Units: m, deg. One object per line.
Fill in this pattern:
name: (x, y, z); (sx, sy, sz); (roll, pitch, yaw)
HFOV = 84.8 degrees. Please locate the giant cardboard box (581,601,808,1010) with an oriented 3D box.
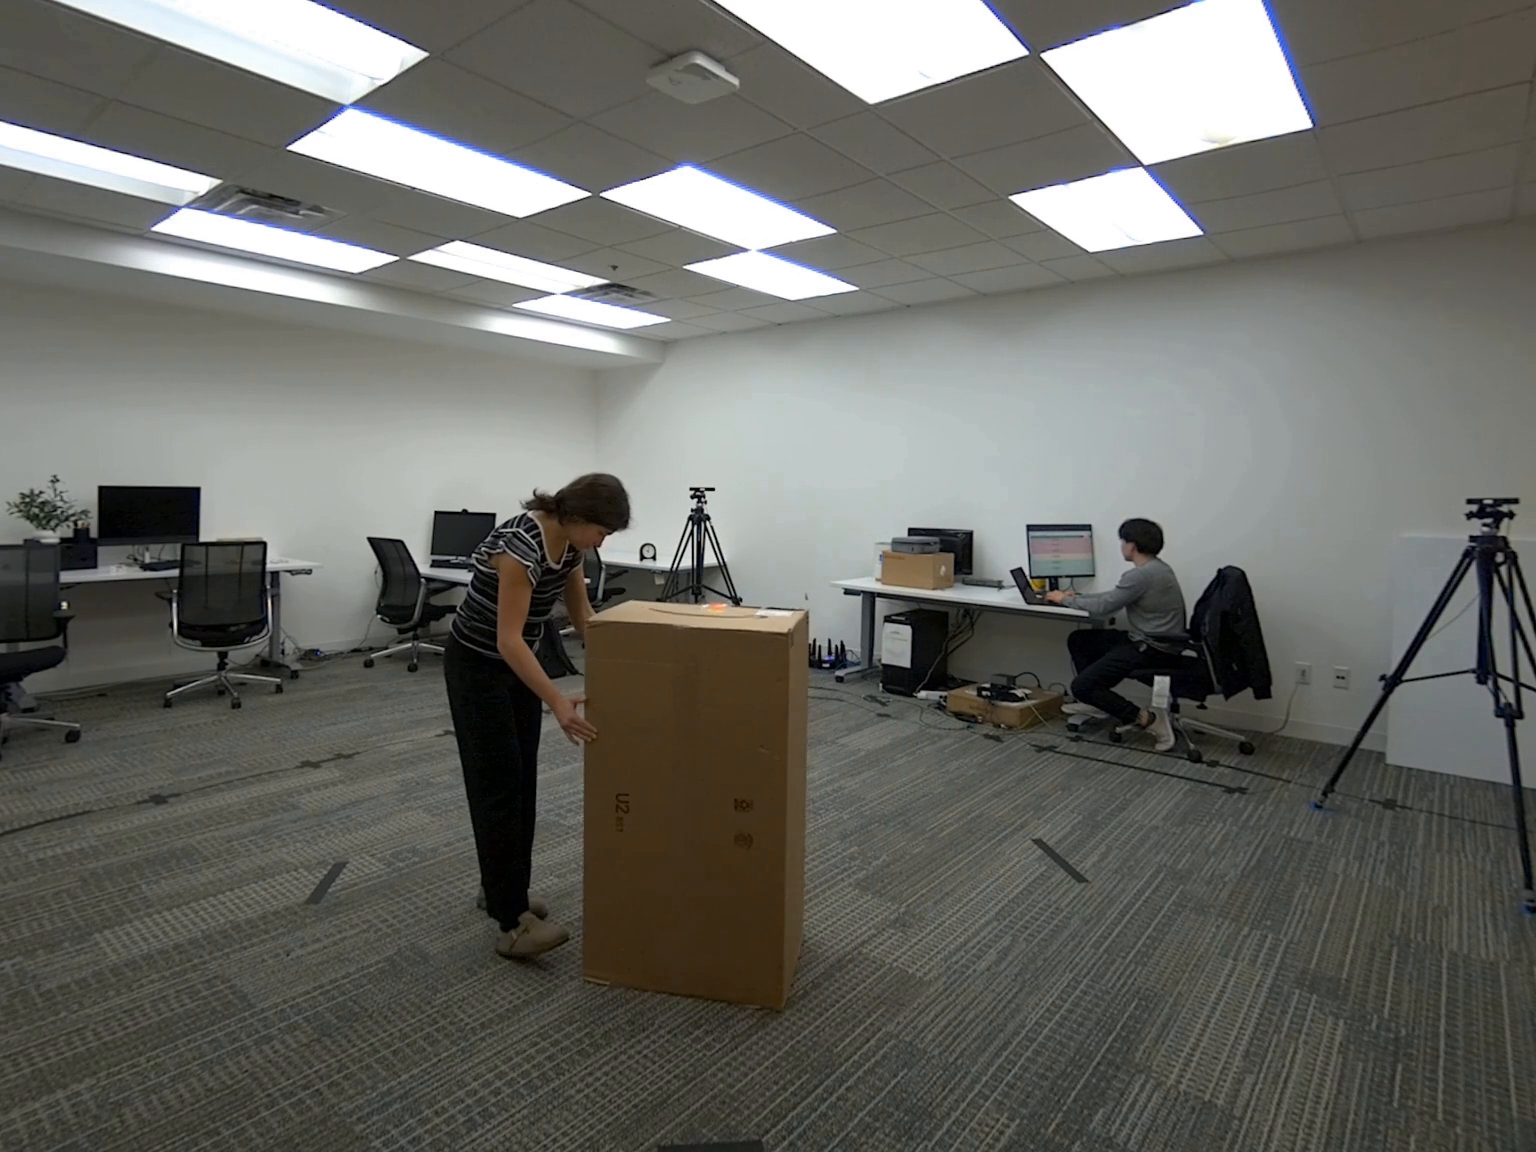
giant cardboard box: (-0.202, 0.614, 2.500); (0.585, 1.023, 0.422); (1, 3, 11)
